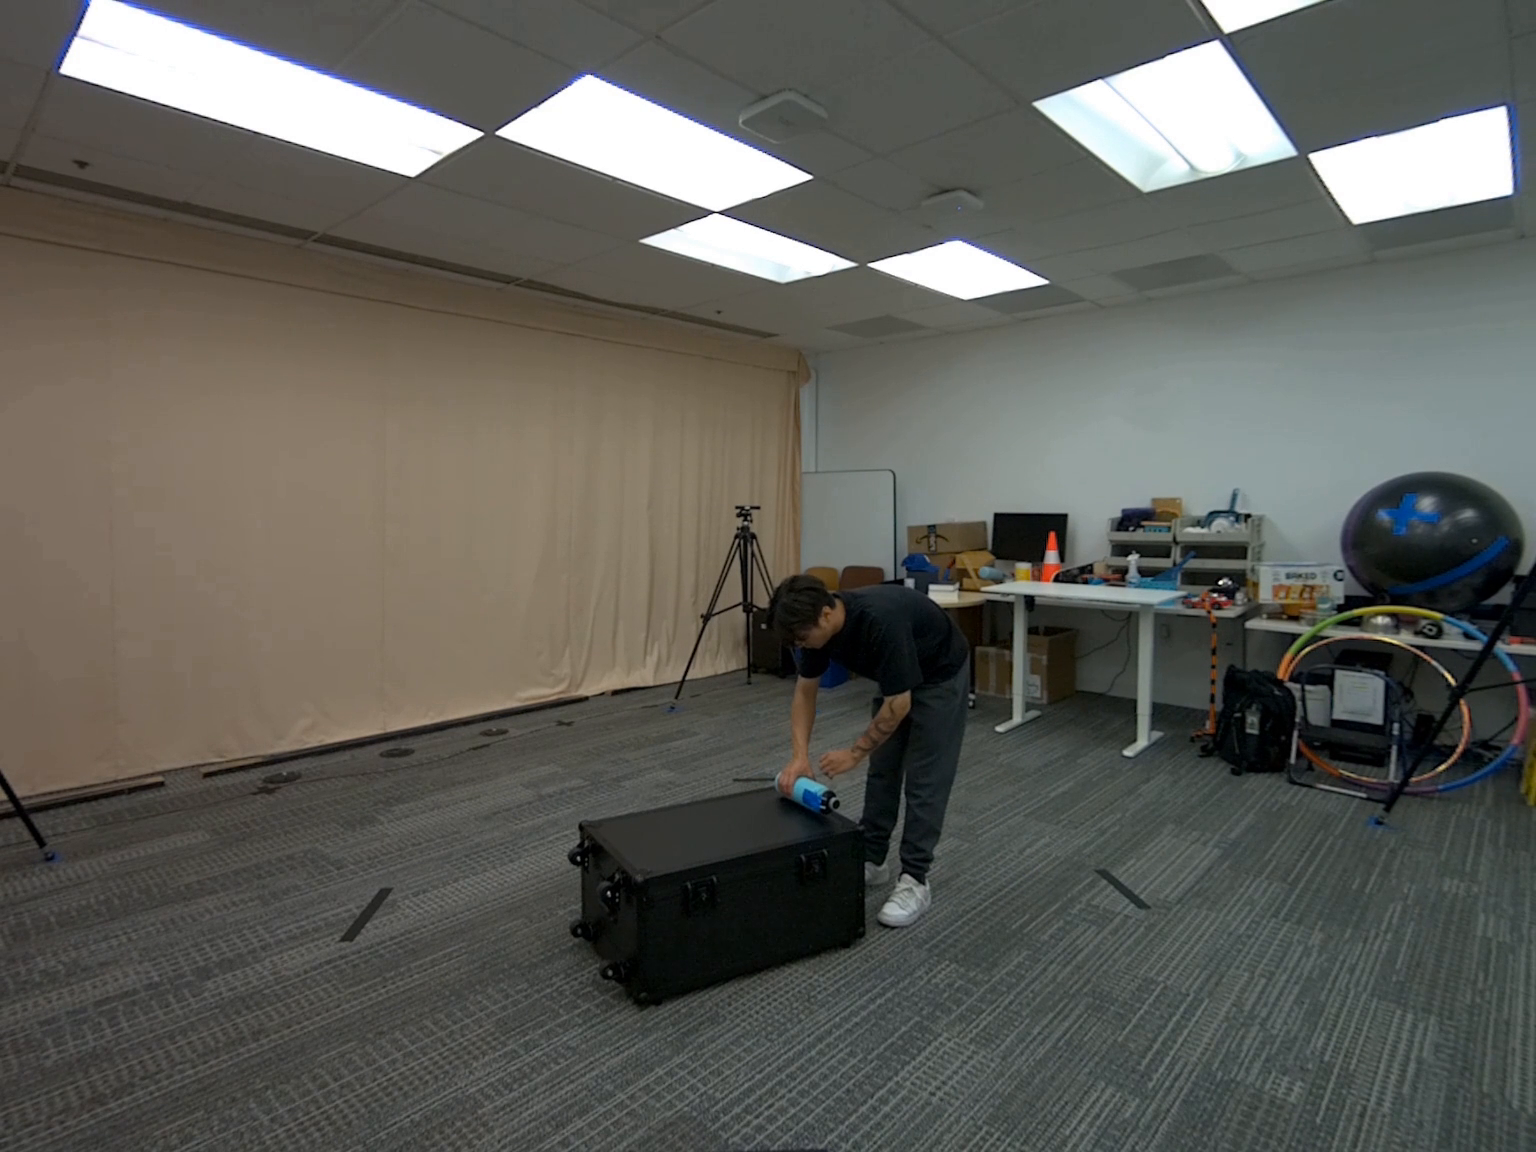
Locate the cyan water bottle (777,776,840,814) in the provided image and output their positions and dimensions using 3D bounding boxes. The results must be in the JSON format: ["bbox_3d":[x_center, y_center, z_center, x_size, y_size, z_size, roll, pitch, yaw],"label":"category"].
[{"bbox_3d":[0.139,0.730,2.827,0.090,0.092,0.291,-2,4,-29],"label":"cyan water bottle"}]
